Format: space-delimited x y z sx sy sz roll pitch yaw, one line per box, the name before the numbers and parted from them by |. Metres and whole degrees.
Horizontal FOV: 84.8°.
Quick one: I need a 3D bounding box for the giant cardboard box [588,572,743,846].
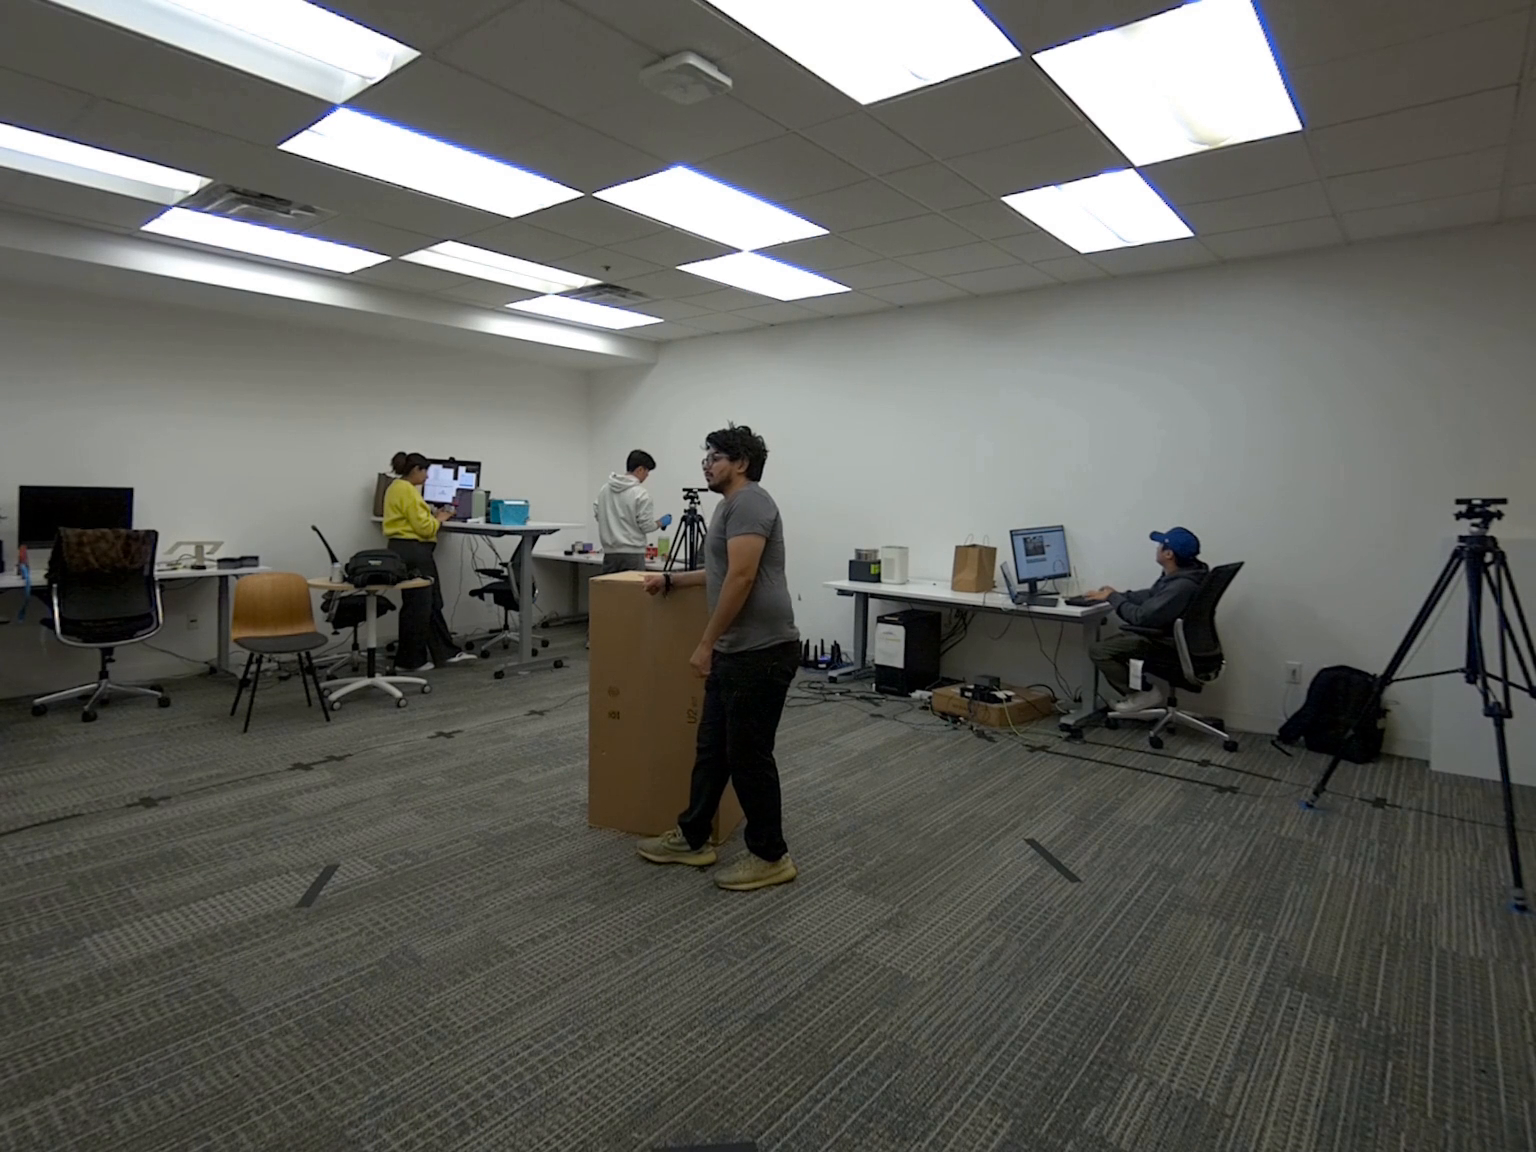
giant cardboard box | -0.417 0.513 3.578 0.589 1.023 0.419 2 4 19
